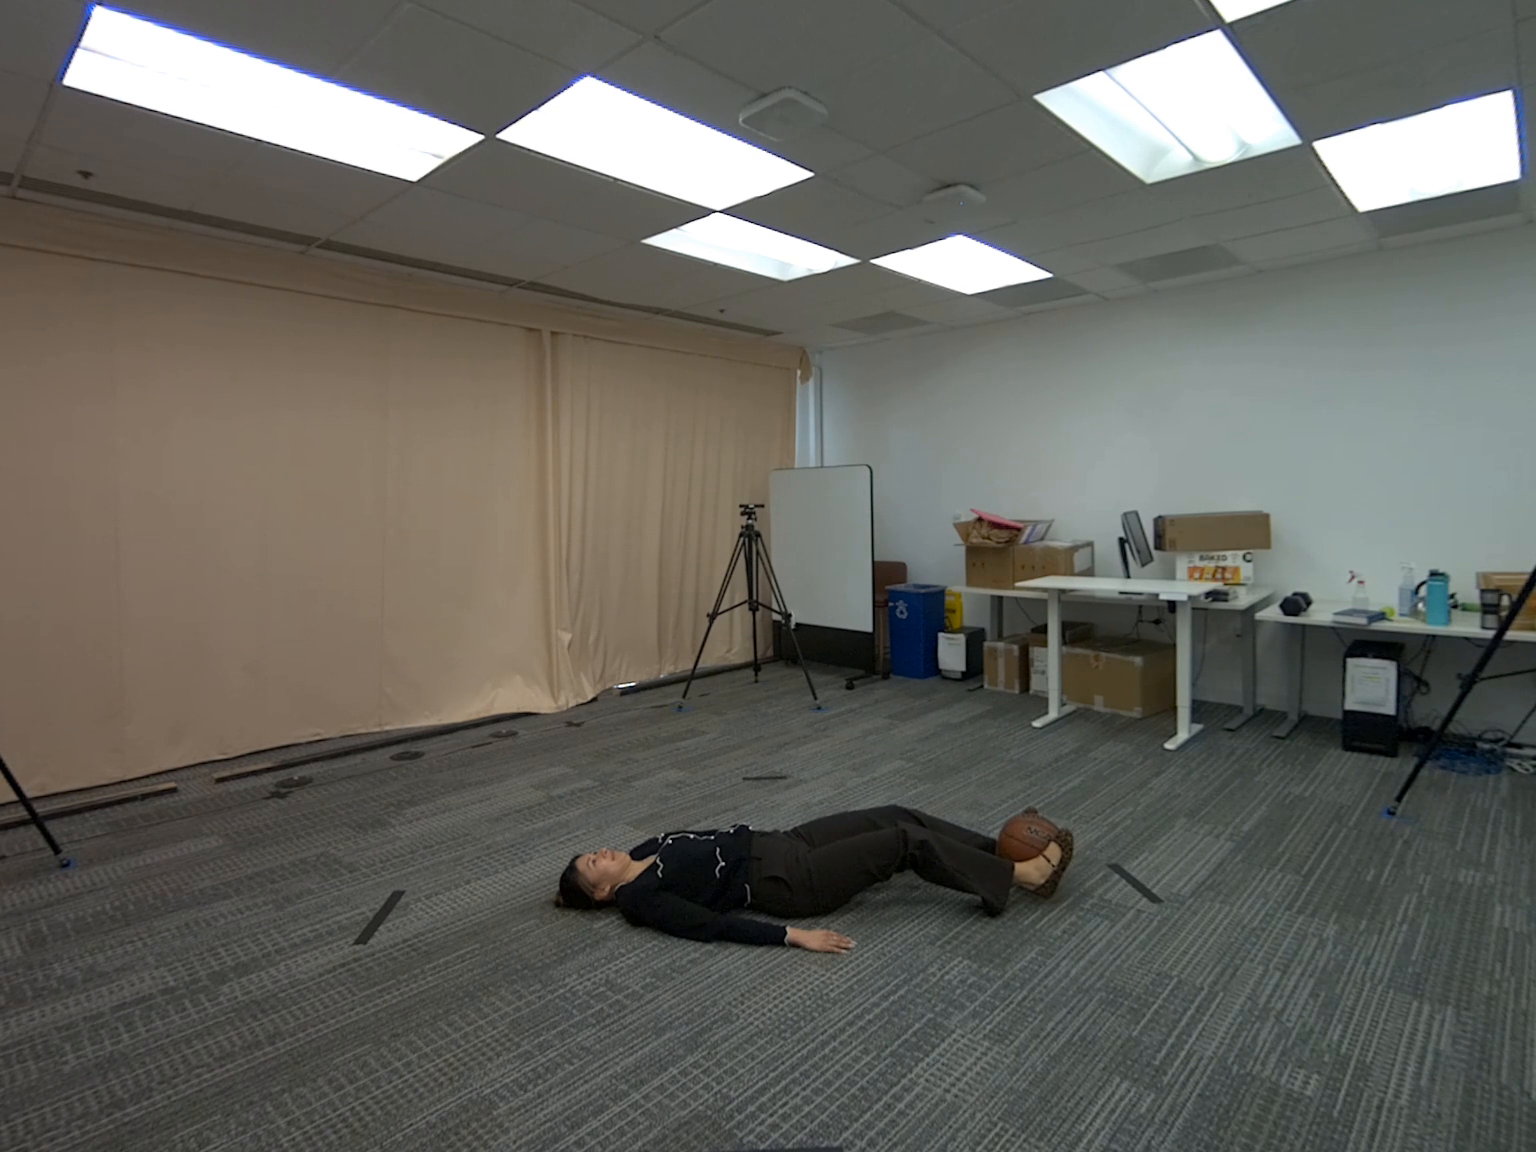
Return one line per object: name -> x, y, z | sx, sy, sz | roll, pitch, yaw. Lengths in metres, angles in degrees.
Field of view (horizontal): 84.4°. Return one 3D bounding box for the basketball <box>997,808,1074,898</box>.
basketball -> 0.955, 0.972, 3.034 | 0.236, 0.236, 0.236 | 0, 1, -2
